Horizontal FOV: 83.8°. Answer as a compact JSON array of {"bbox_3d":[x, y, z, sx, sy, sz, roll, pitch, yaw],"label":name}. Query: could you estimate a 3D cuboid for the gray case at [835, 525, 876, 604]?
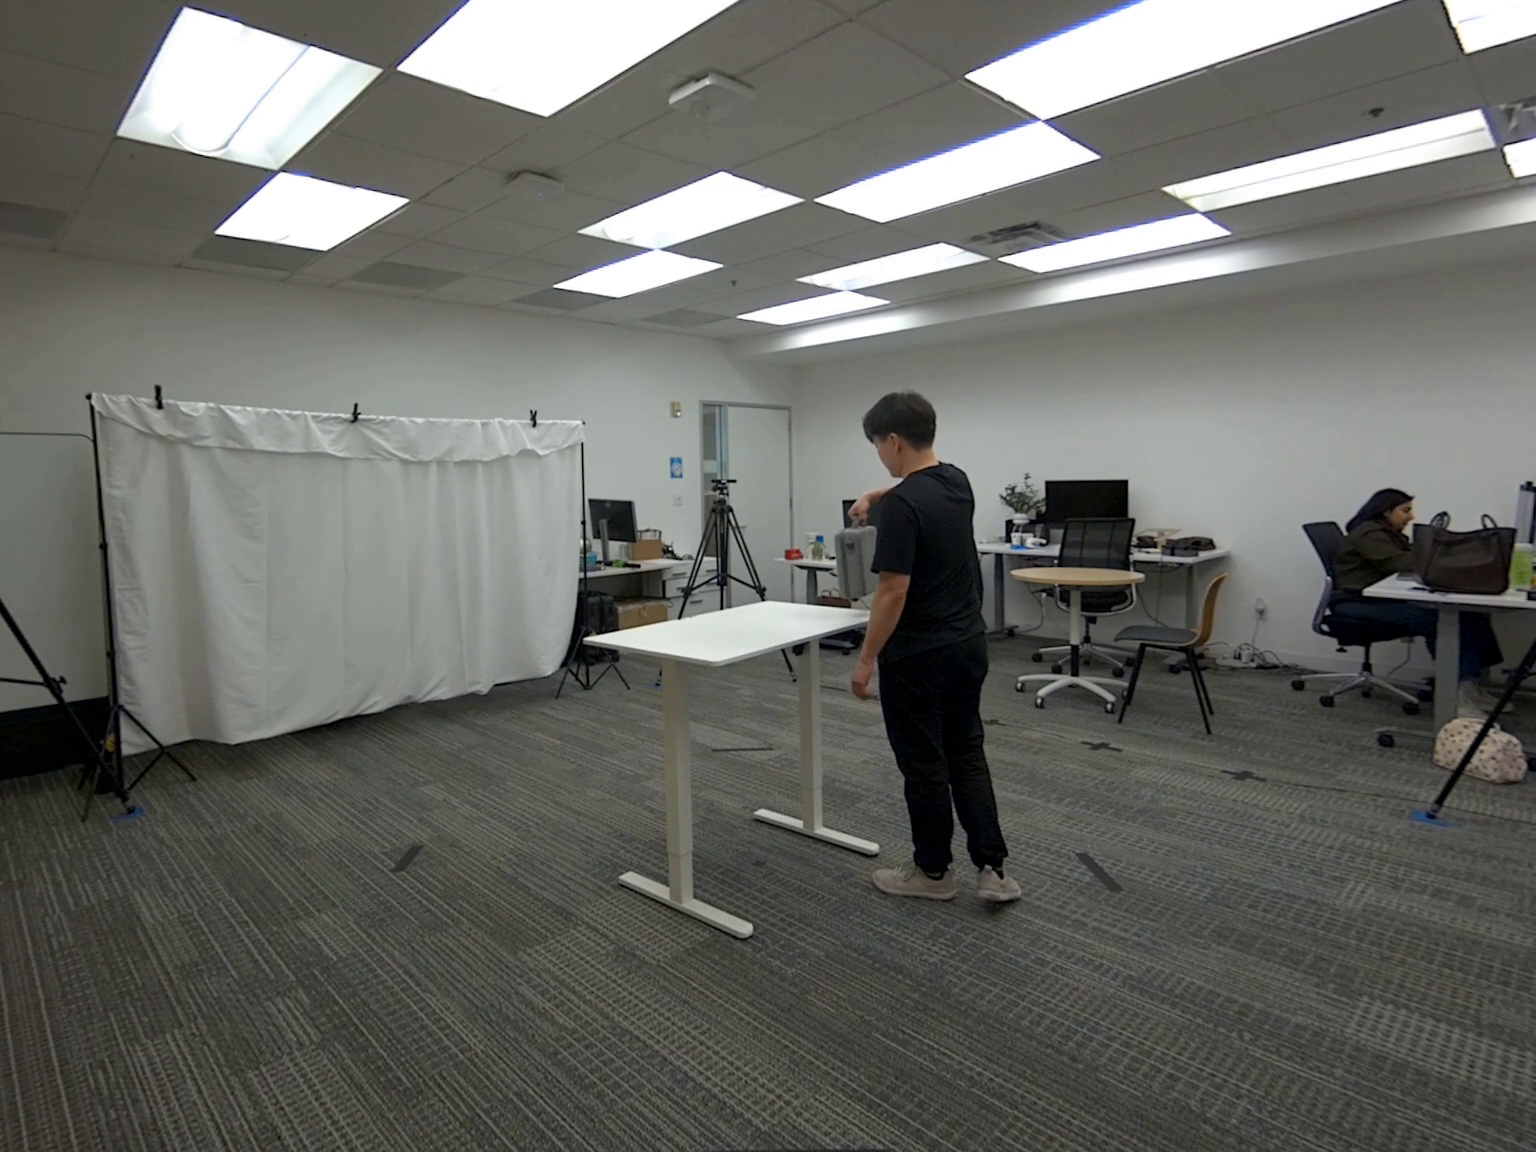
[{"bbox_3d":[0.344,-0.055,3.203,0.106,0.259,0.253,-3,6,25],"label":"gray case"}]
